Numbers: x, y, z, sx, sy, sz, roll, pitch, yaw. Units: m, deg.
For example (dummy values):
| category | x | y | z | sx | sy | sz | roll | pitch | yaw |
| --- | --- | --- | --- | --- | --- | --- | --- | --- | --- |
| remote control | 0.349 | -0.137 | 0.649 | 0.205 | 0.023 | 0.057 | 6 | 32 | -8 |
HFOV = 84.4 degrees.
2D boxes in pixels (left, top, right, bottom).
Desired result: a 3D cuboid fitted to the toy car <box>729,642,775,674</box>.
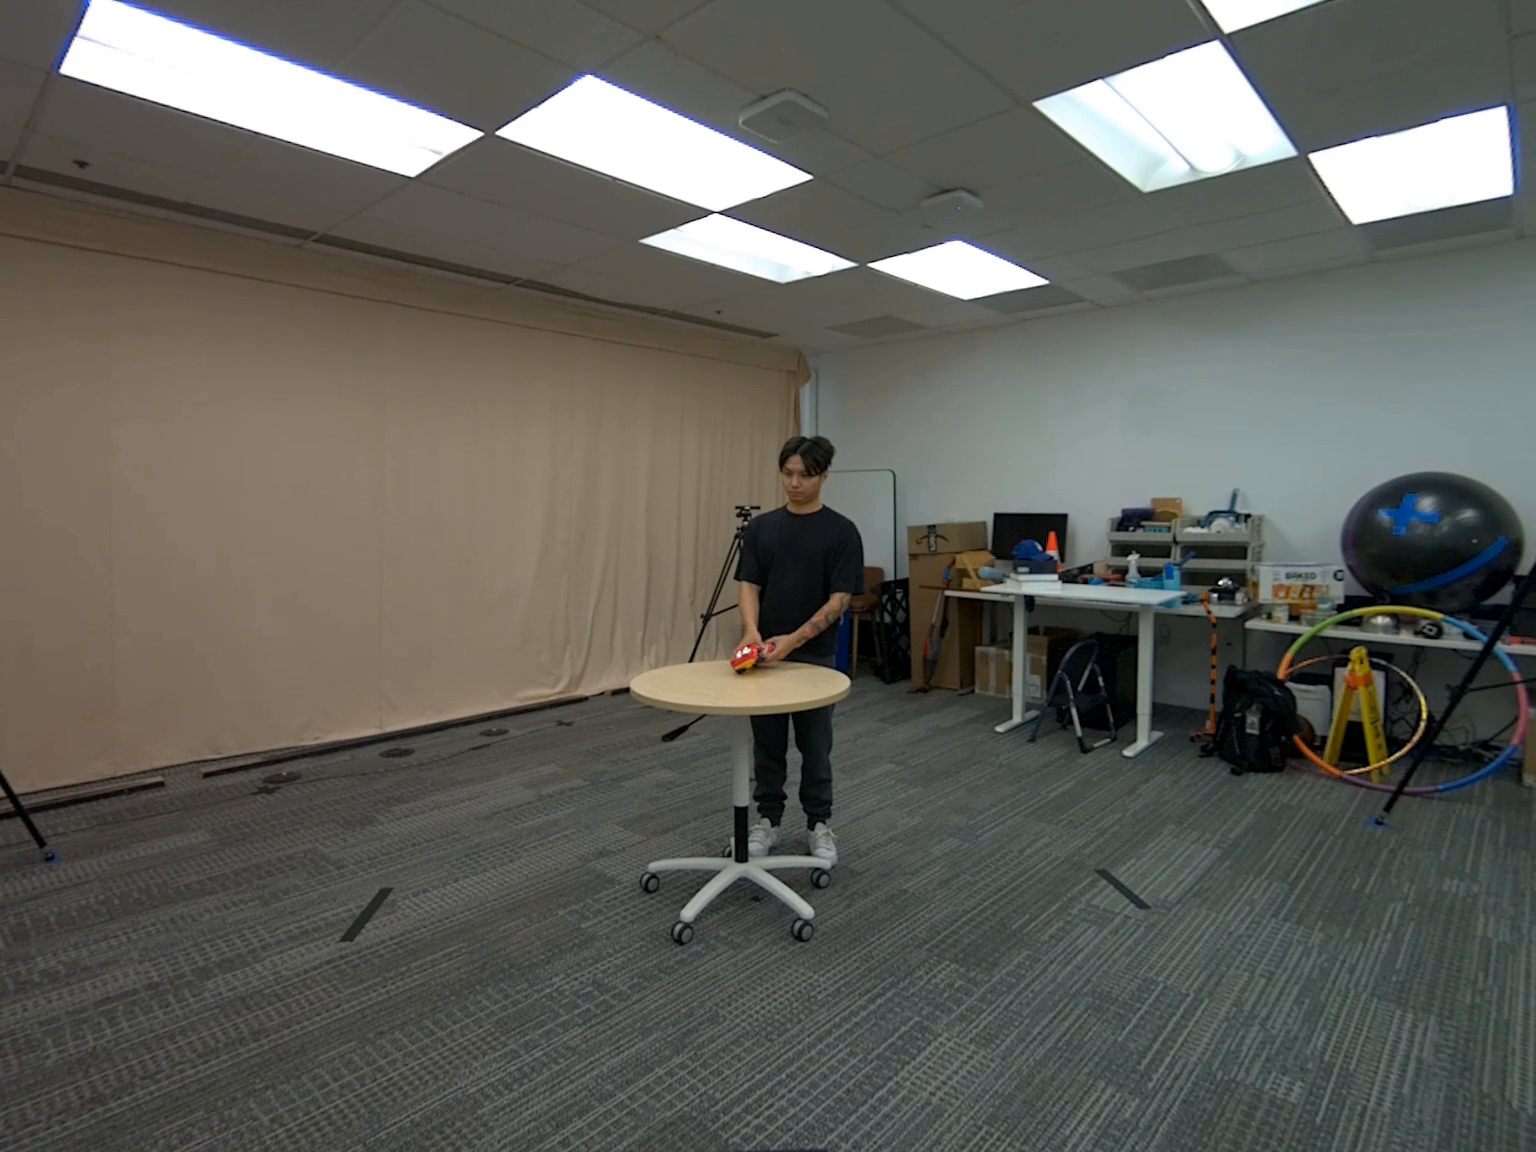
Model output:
| category | x | y | z | sx | sy | sz | roll | pitch | yaw |
| --- | --- | --- | --- | --- | --- | --- | --- | --- | --- |
| toy car | -0.054 | 0.296 | 3.081 | 0.132 | 0.084 | 0.247 | -31 | -17 | 23 |
